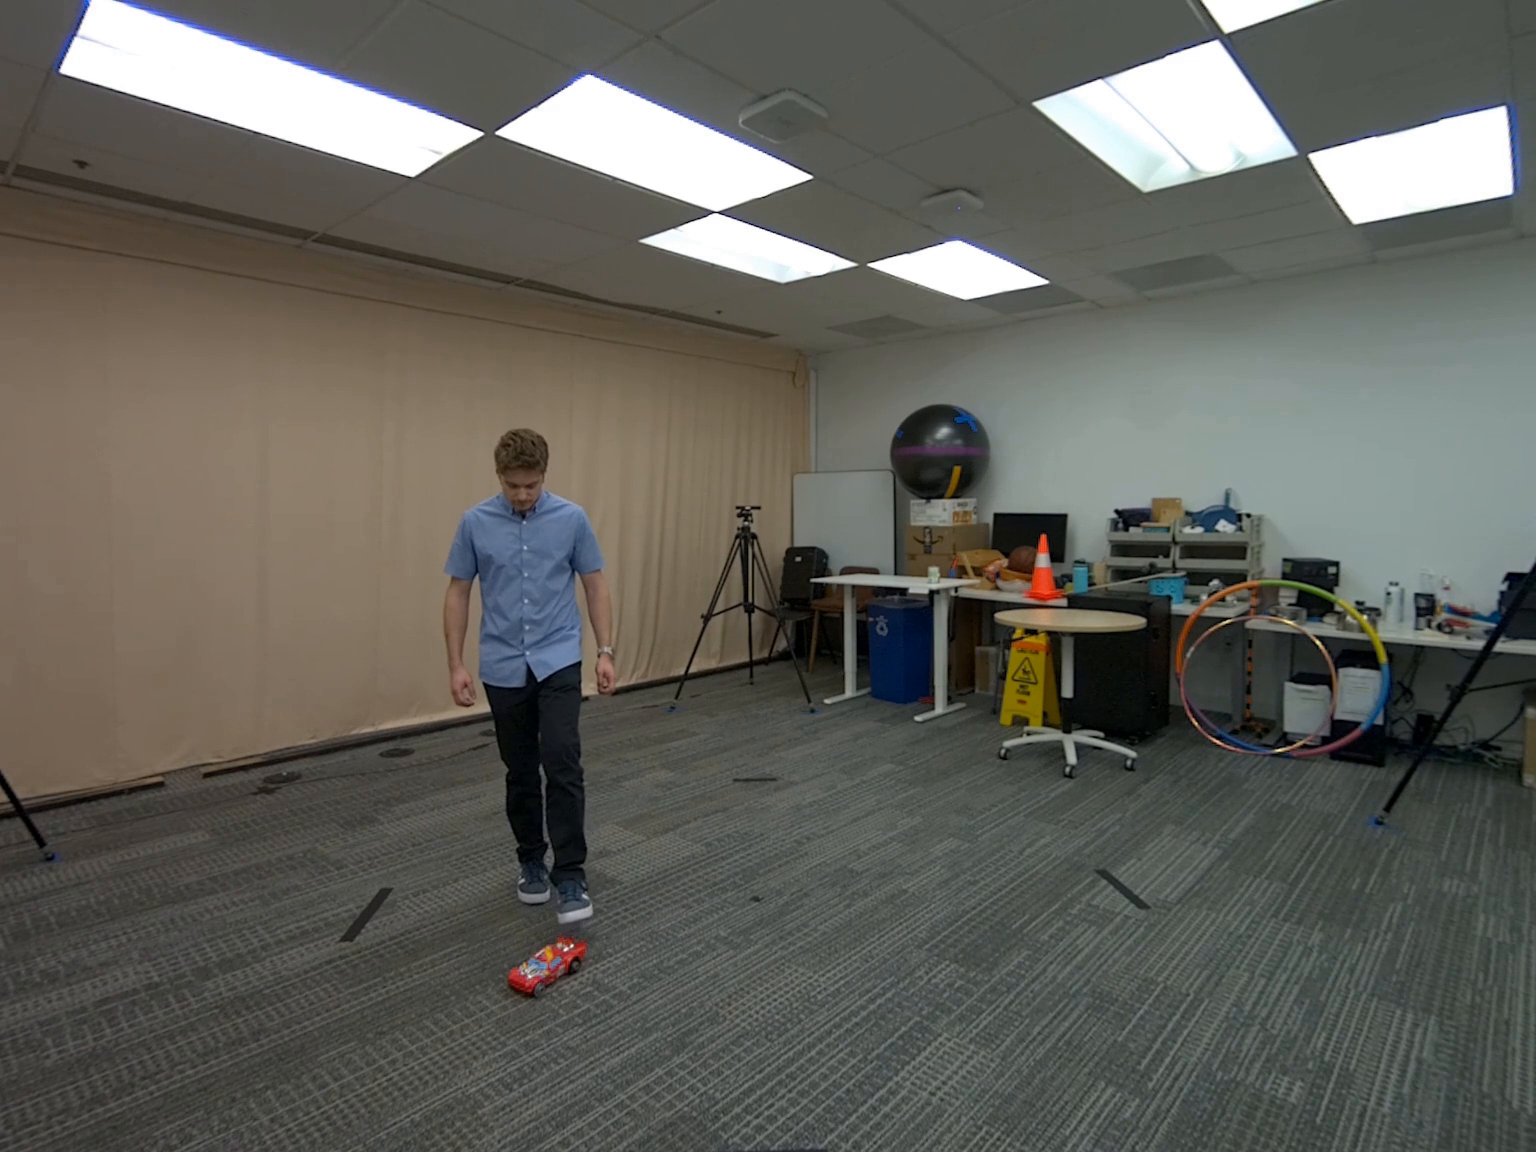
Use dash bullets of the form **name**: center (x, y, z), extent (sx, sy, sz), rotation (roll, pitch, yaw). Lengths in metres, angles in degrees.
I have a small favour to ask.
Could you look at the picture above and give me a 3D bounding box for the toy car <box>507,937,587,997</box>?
- **toy car**: center (-0.653, 1.157, 2.499), extent (0.134, 0.082, 0.249), rotation (1, 15, 33)
